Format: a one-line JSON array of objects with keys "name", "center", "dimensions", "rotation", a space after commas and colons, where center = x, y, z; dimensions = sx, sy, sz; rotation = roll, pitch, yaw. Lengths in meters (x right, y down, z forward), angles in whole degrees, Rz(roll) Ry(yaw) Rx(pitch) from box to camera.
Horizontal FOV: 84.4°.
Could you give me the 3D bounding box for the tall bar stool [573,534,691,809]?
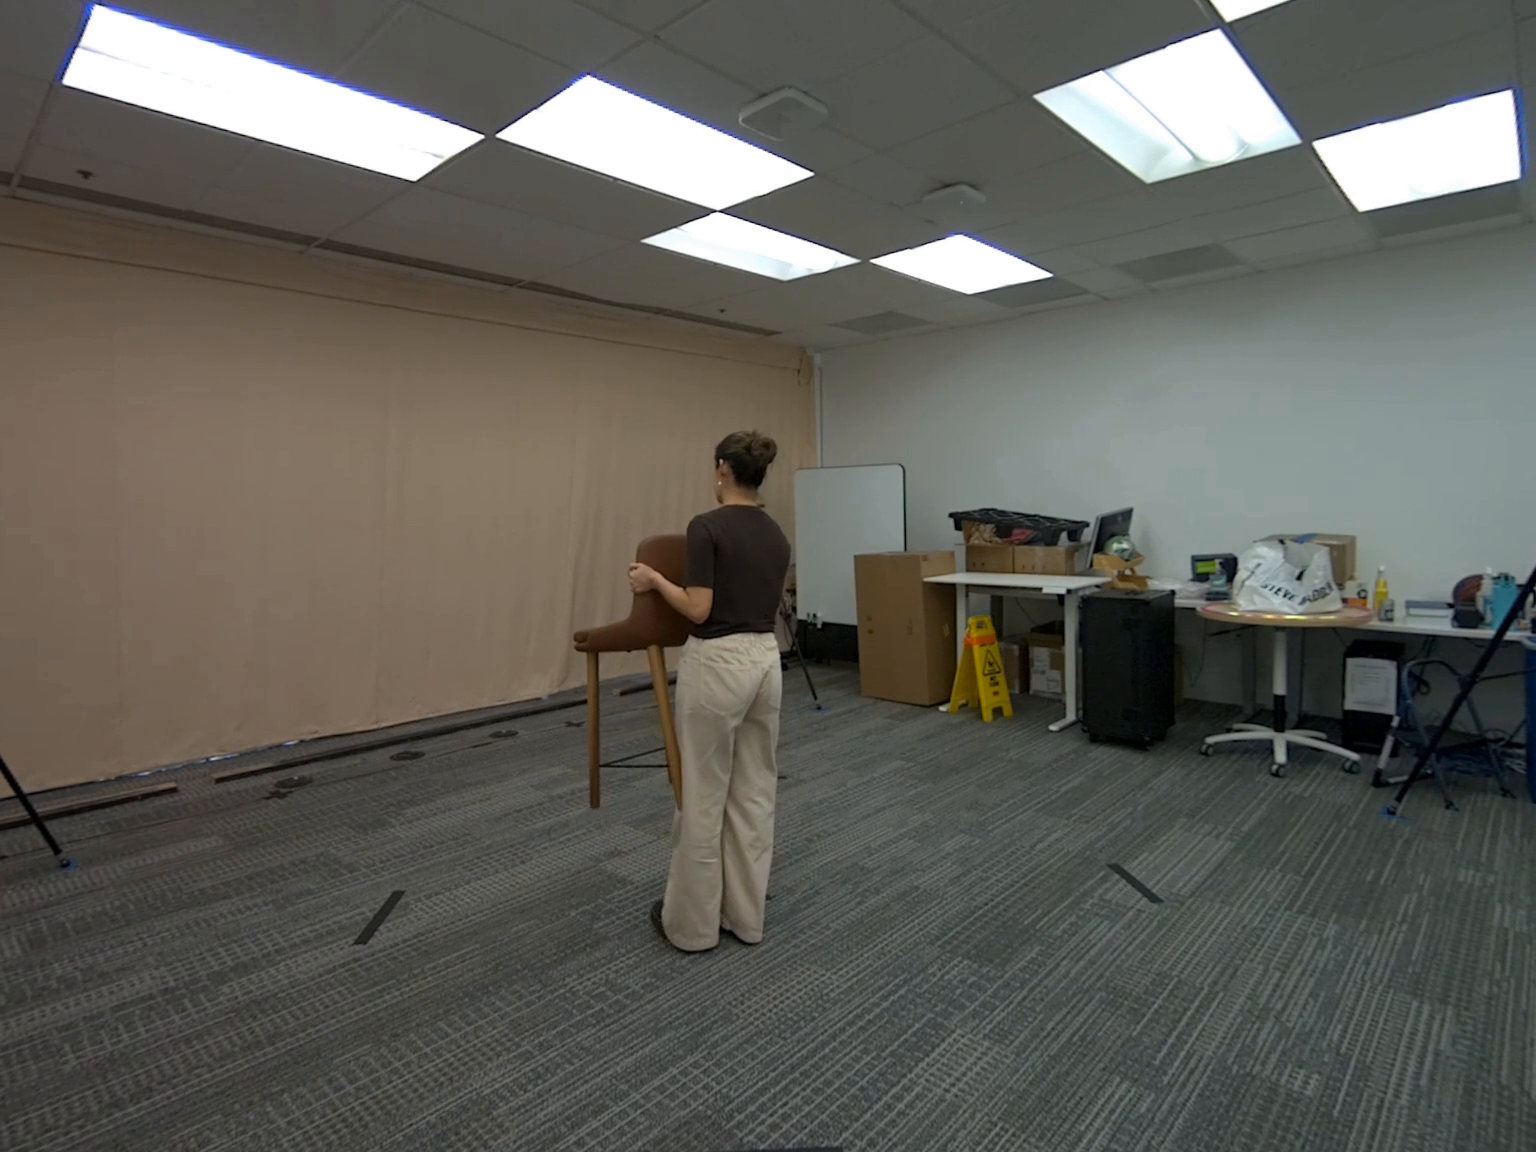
[{"name": "tall bar stool", "center": [-0.378, 0.332, 2.933], "dimensions": [0.481, 0.892, 0.442], "rotation": [-10, -4, 41]}]
